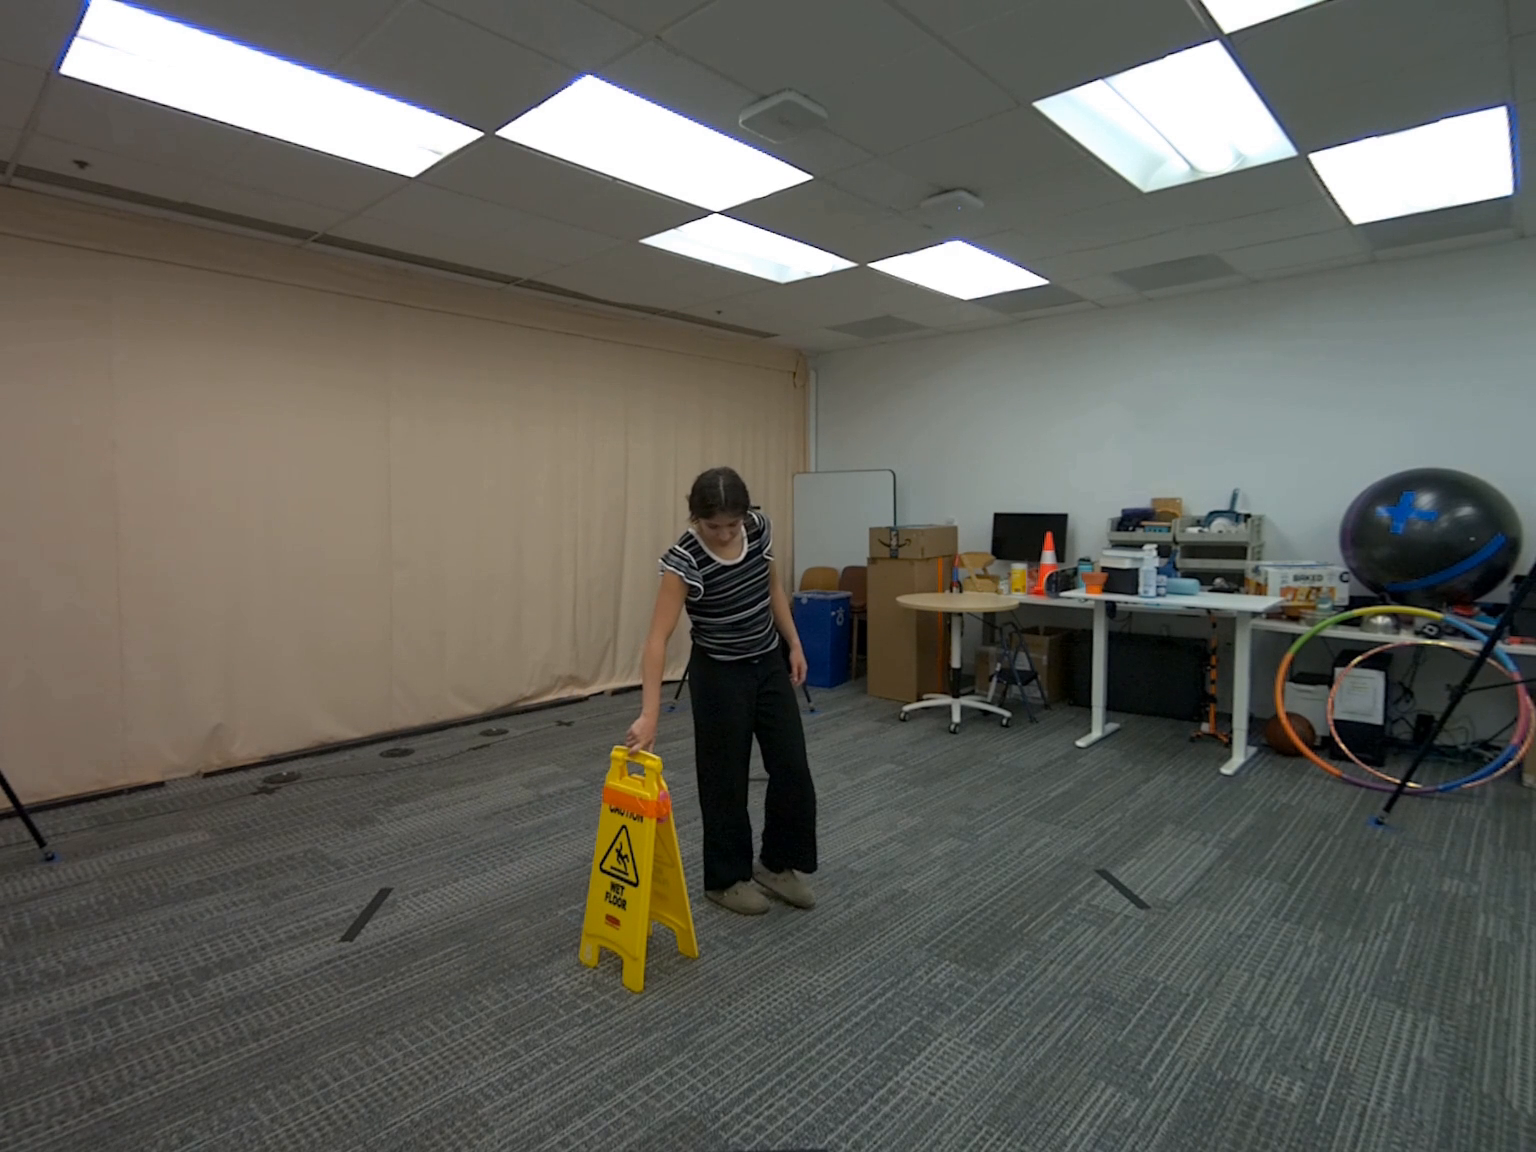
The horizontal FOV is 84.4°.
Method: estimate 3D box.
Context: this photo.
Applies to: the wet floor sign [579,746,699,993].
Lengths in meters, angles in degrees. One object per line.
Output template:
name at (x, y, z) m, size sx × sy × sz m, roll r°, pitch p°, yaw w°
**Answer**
wet floor sign at (-0.399, 0.857, 2.569) m, size 0.291 × 0.644 × 0.281 m, roll 2°, pitch 5°, yaw 39°
